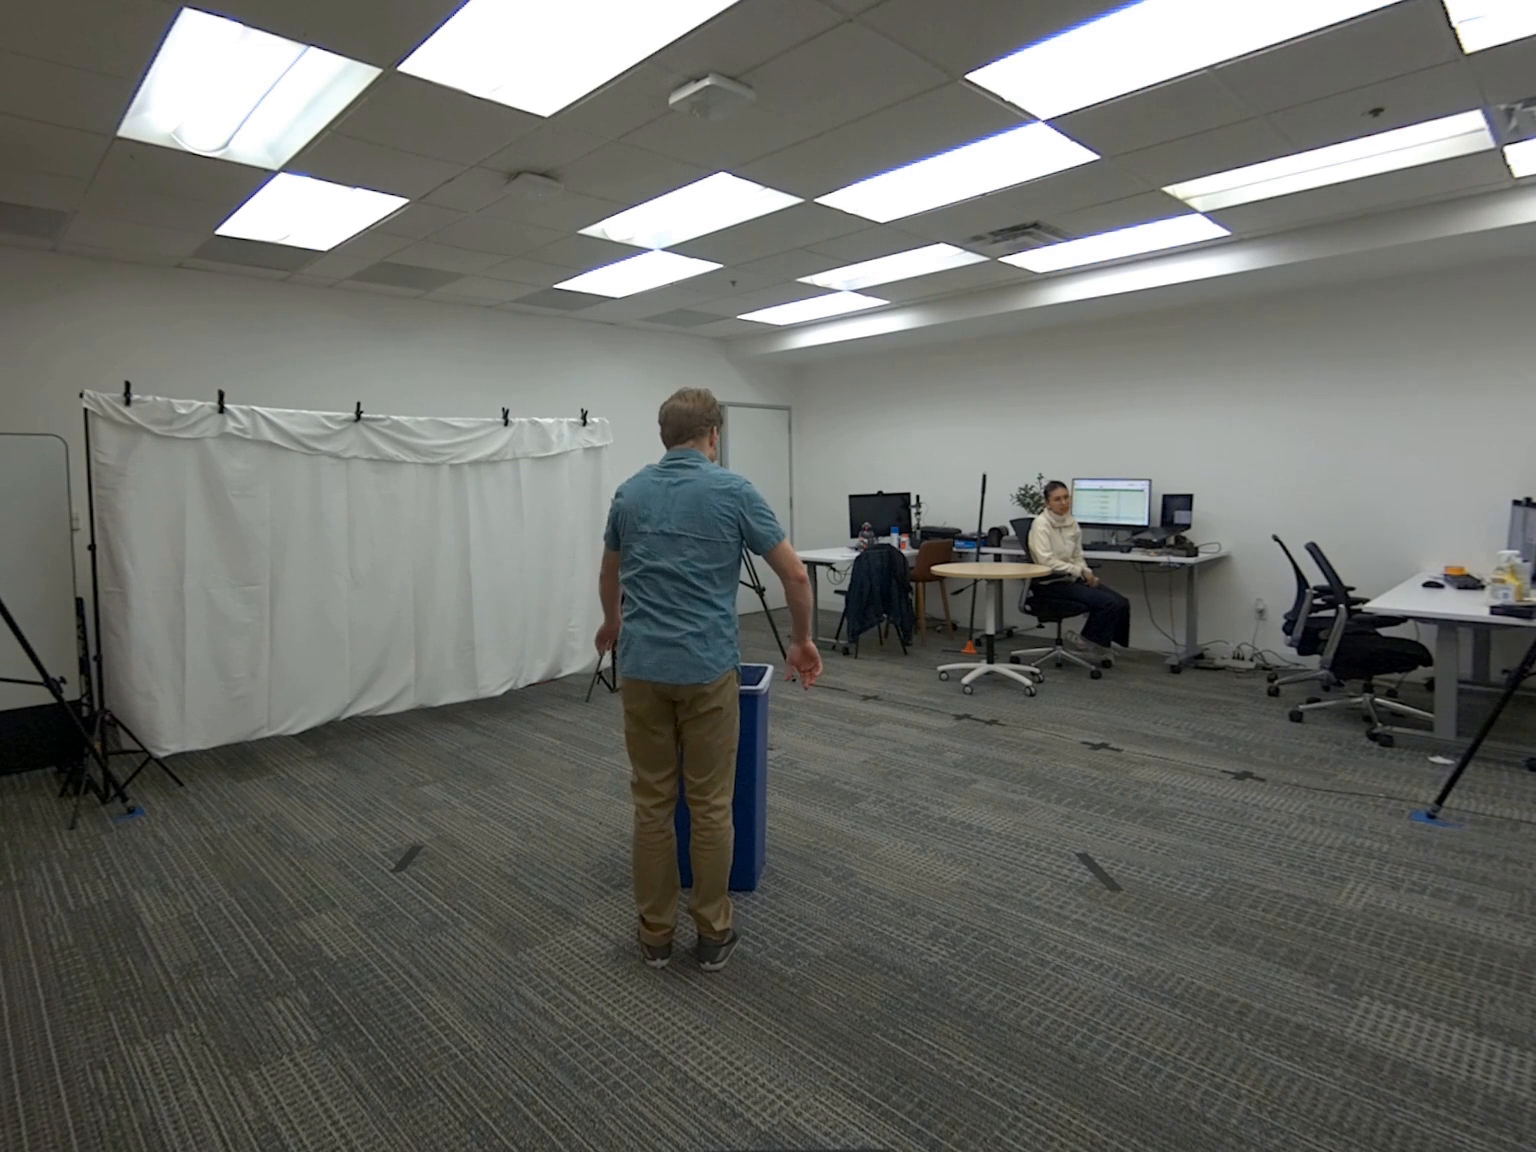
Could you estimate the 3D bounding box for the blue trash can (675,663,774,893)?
[{"bbox_3d":[-0.168,0.699,3.034,0.381,0.712,0.372,0,3,7],"label":"blue trash can"}]
